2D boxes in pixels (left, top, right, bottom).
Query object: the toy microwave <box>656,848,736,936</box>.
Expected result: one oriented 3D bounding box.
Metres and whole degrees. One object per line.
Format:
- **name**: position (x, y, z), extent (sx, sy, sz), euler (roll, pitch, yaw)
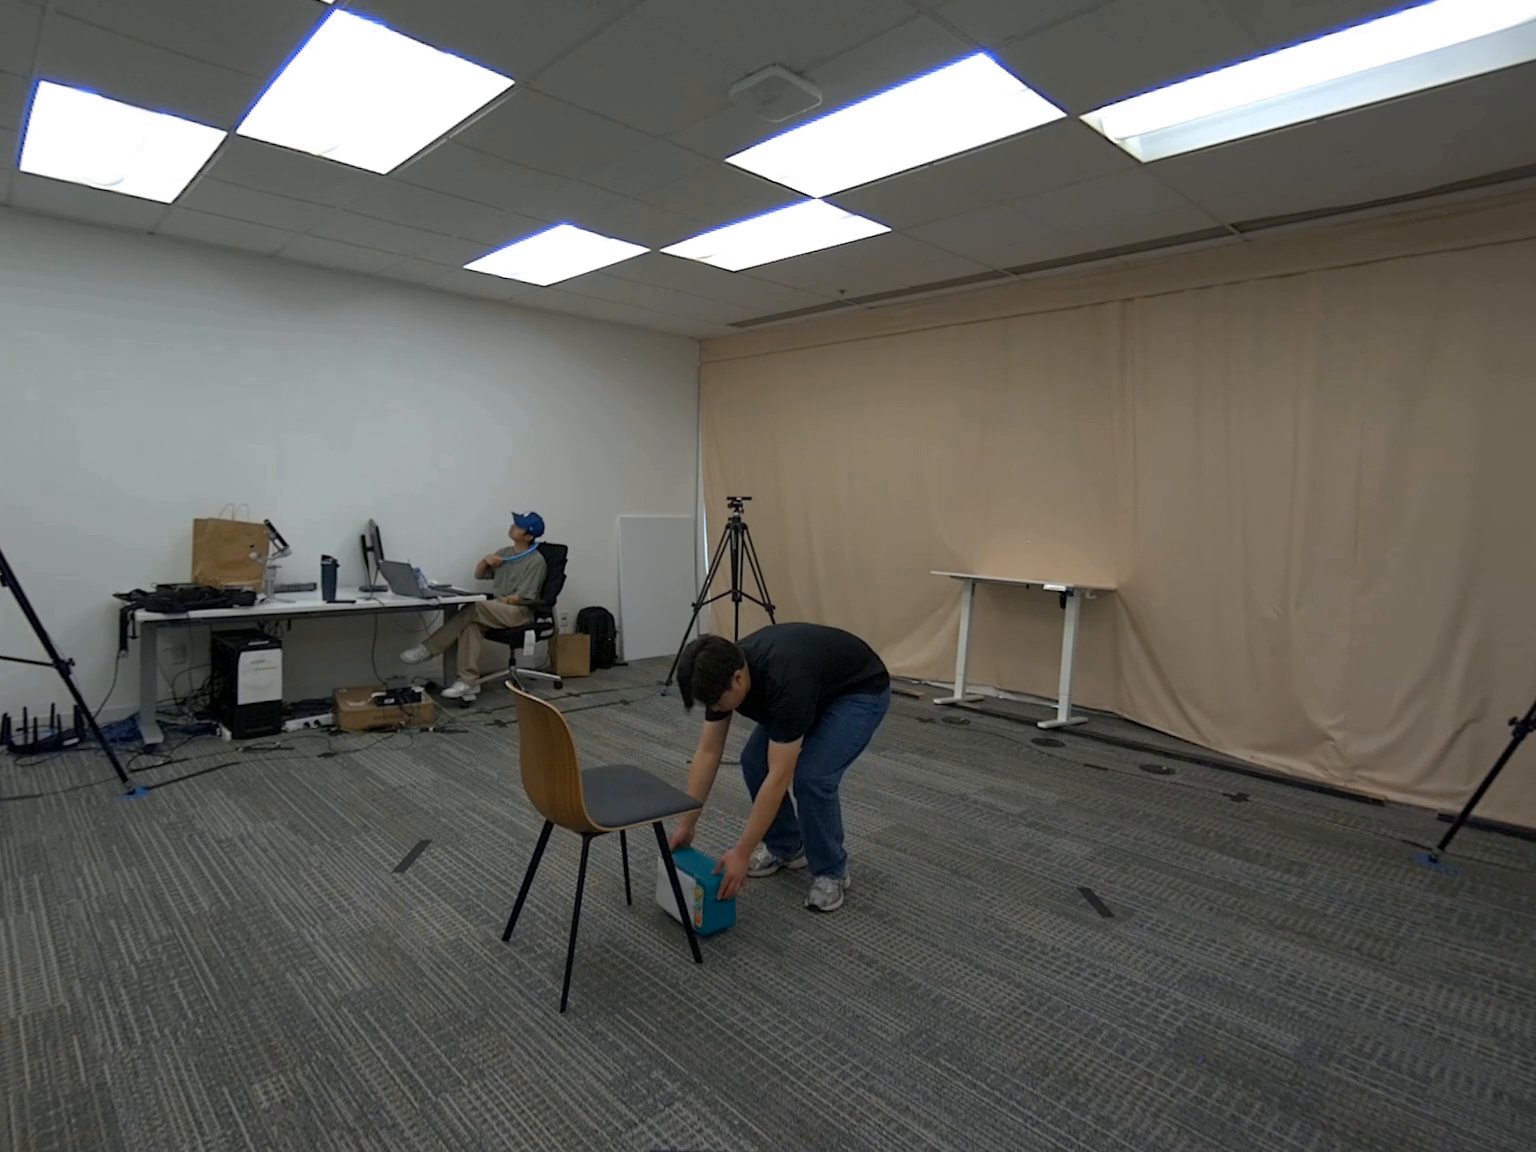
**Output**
- **toy microwave**: position (-0.246, 1.033, 2.745), extent (0.149, 0.184, 0.293), euler (0, 5, -39)
